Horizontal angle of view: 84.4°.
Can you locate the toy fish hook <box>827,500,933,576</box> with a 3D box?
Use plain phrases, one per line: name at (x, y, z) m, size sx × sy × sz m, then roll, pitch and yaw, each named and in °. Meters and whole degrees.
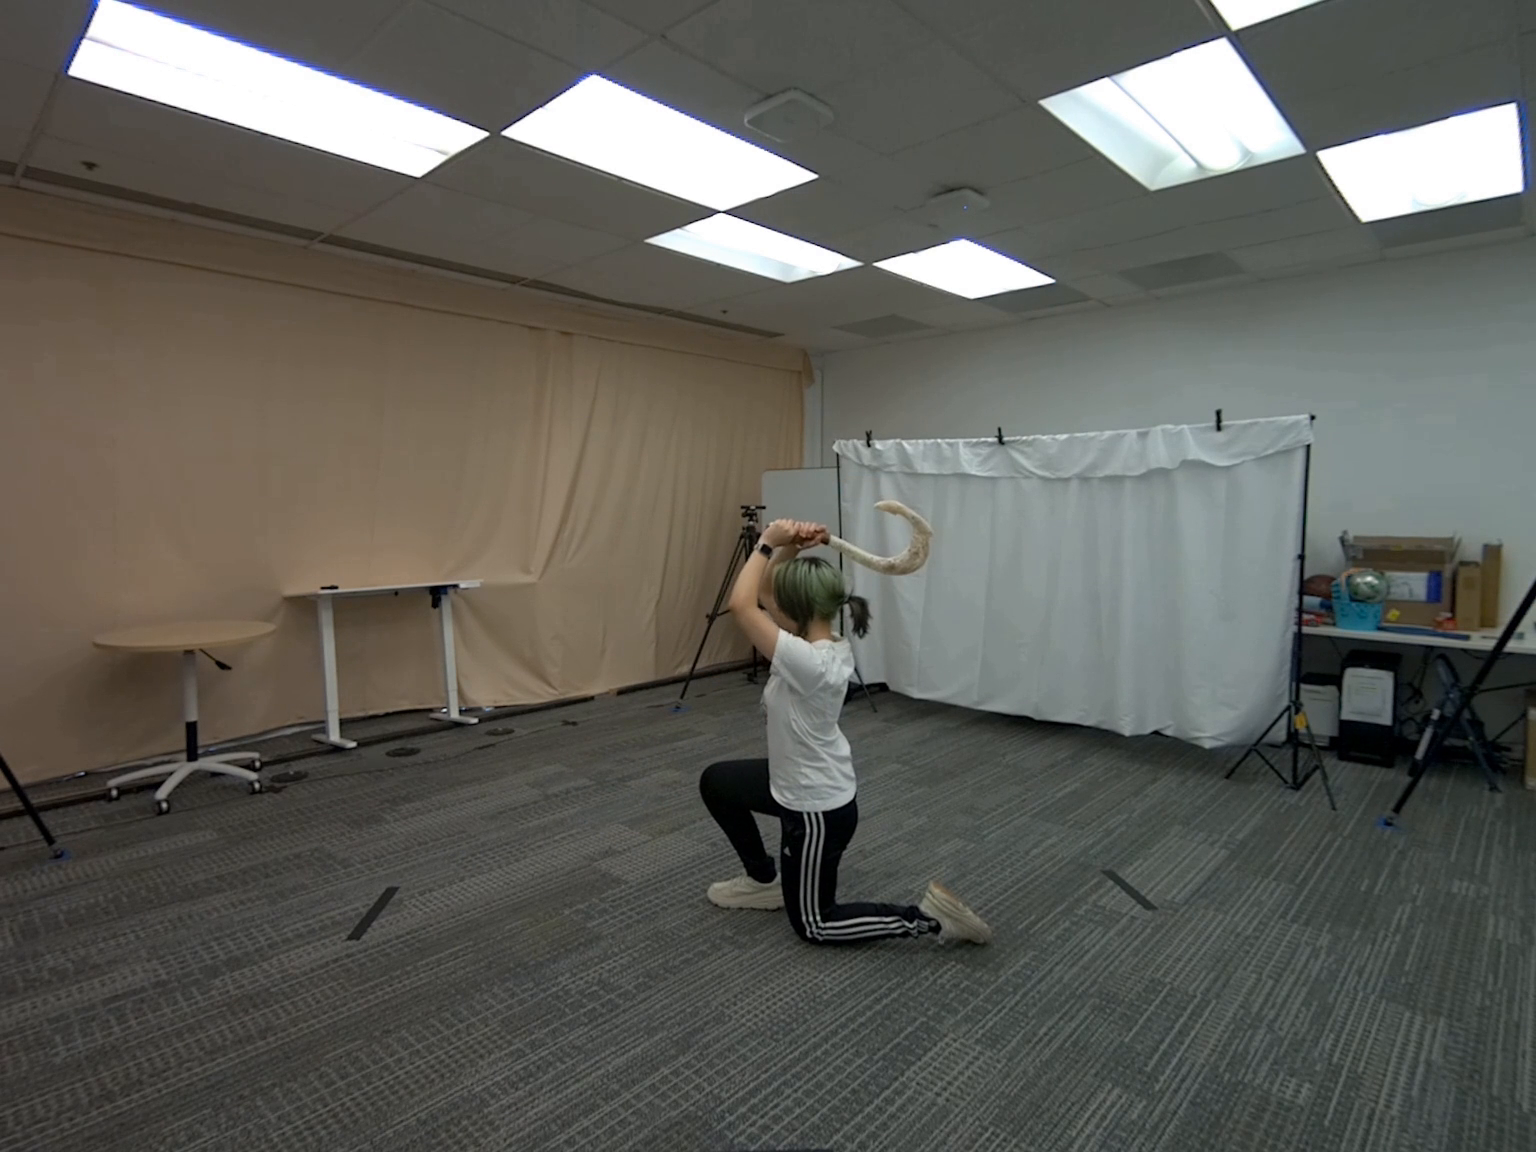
toy fish hook at (0.252, -0.154, 2.605) m, size 0.511 × 0.224 × 0.048 m, roll 12°, pitch 1°, yaw 7°
